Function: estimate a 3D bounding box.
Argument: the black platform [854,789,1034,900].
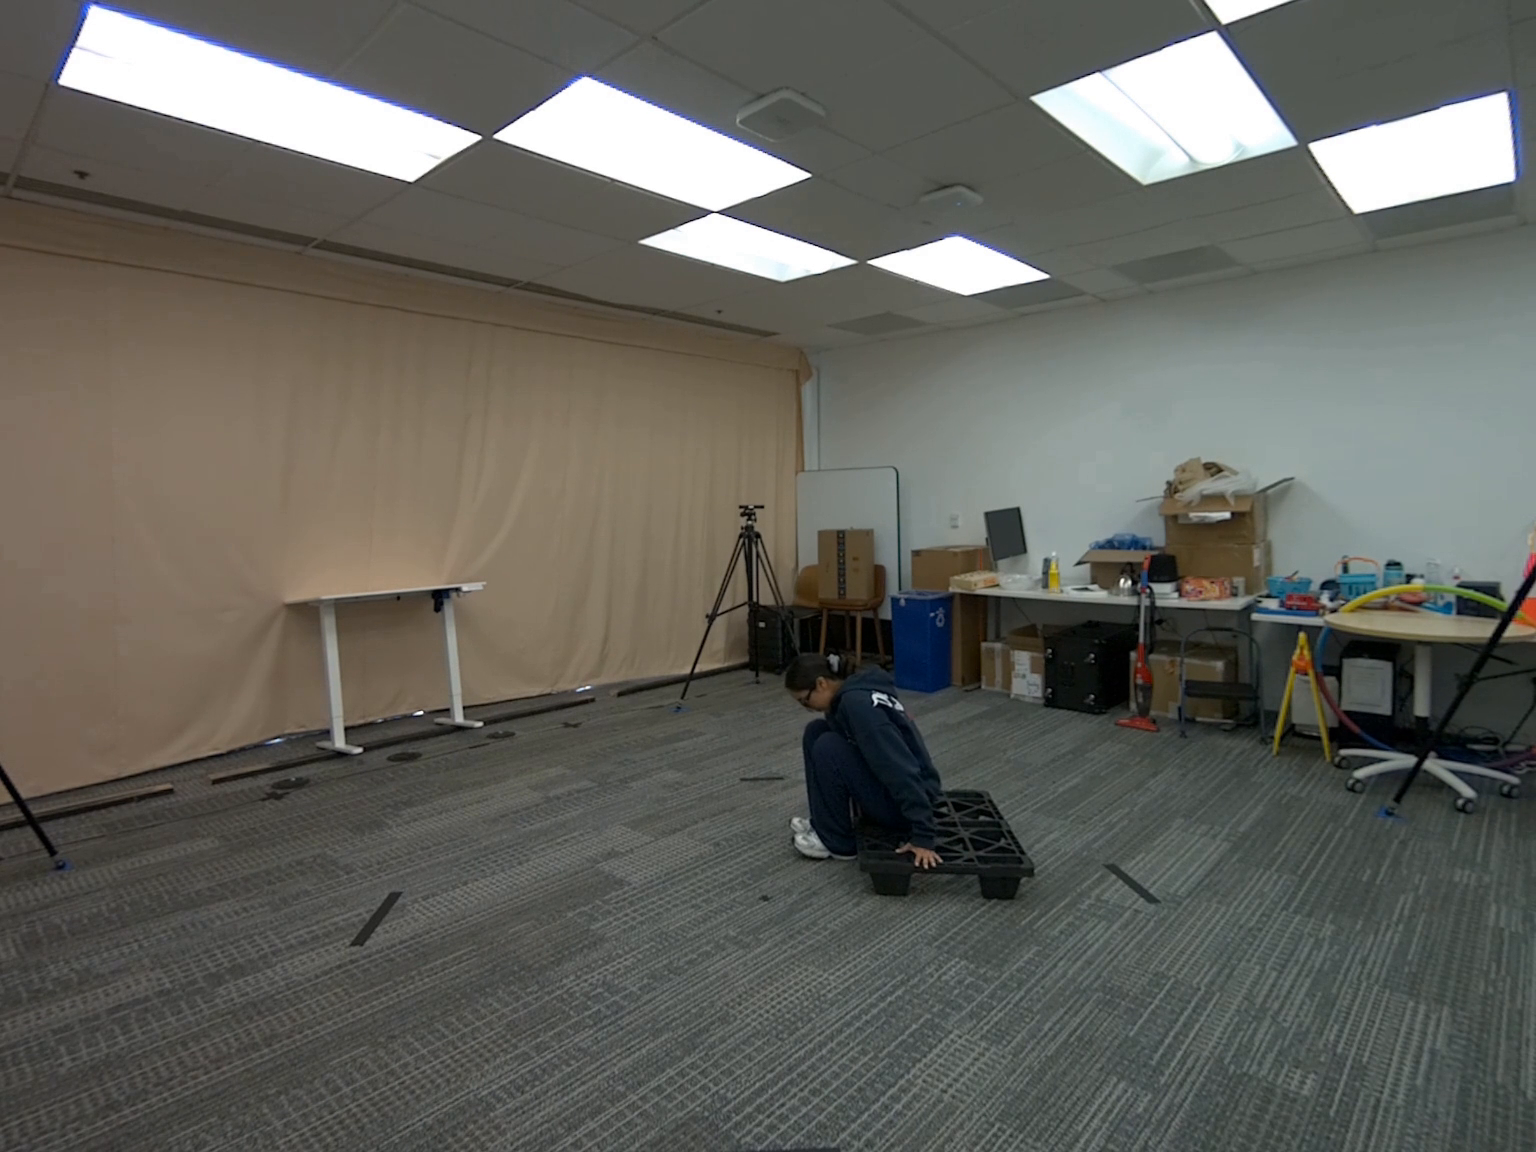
[{"bbox_3d":[0.653,1.035,3.312,0.609,0.143,0.803,0,5,4],"label":"black platform"}]
